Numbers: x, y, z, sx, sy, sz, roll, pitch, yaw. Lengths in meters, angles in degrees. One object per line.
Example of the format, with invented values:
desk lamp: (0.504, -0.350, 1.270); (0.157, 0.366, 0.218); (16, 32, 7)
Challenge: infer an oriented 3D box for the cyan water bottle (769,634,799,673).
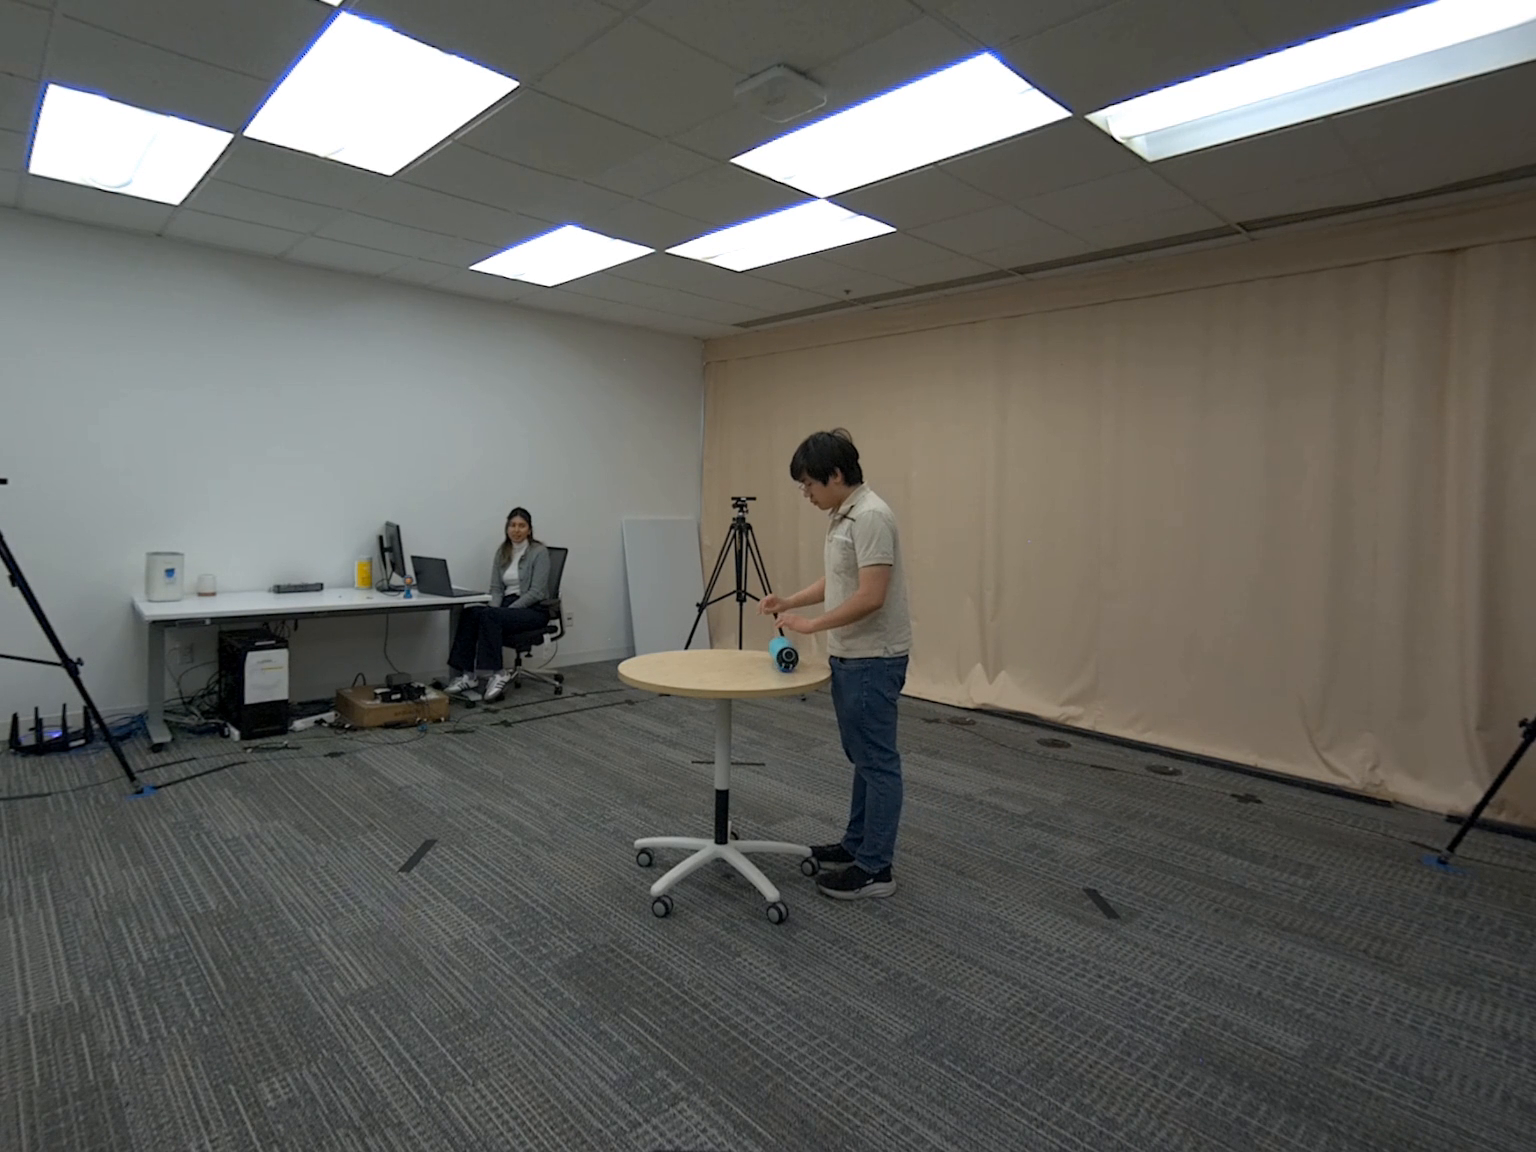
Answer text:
cyan water bottle: (0.052, 0.281, 3.072); (0.092, 0.092, 0.285); (1, 4, -4)
